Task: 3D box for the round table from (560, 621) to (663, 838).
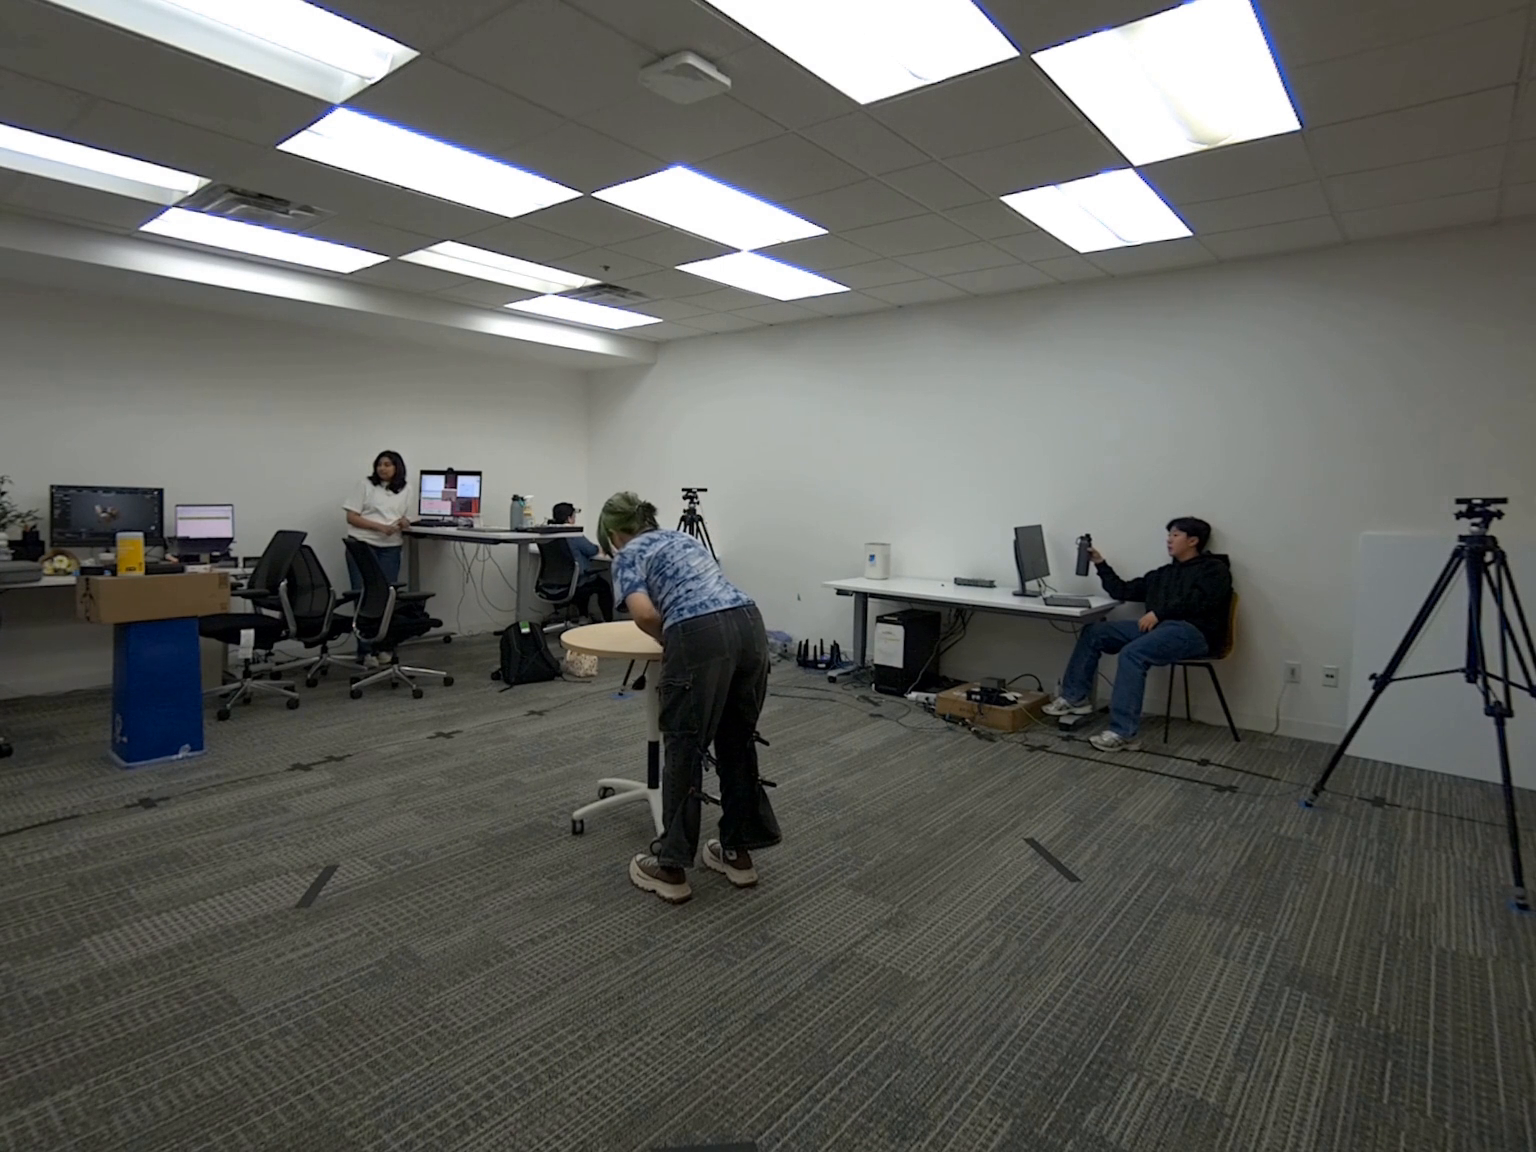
[{"bbox_3d":[-0.494,0.634,3.539,0.763,0.792,0.767,1,4,-2],"label":"round table"}]
